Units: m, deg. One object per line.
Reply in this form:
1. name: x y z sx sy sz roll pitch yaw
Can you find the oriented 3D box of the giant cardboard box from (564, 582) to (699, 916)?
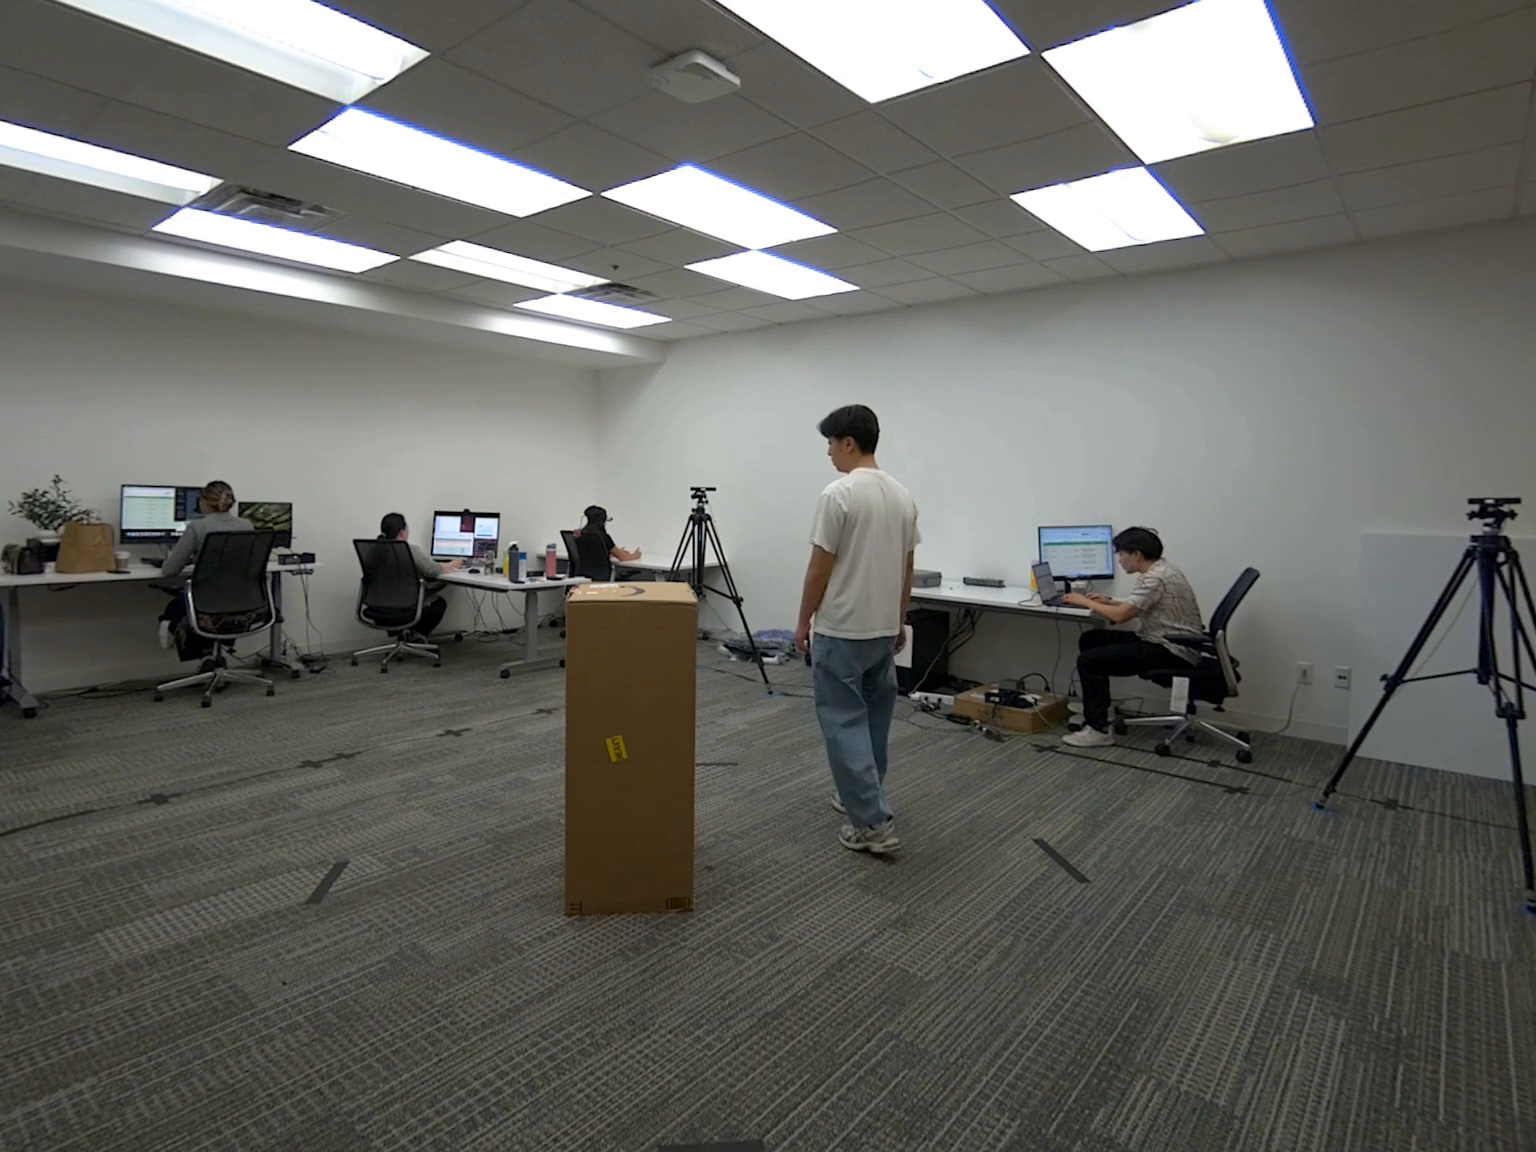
1. giant cardboard box: -0.497 0.561 3.023 0.423 1.023 0.584 1 3 -8
